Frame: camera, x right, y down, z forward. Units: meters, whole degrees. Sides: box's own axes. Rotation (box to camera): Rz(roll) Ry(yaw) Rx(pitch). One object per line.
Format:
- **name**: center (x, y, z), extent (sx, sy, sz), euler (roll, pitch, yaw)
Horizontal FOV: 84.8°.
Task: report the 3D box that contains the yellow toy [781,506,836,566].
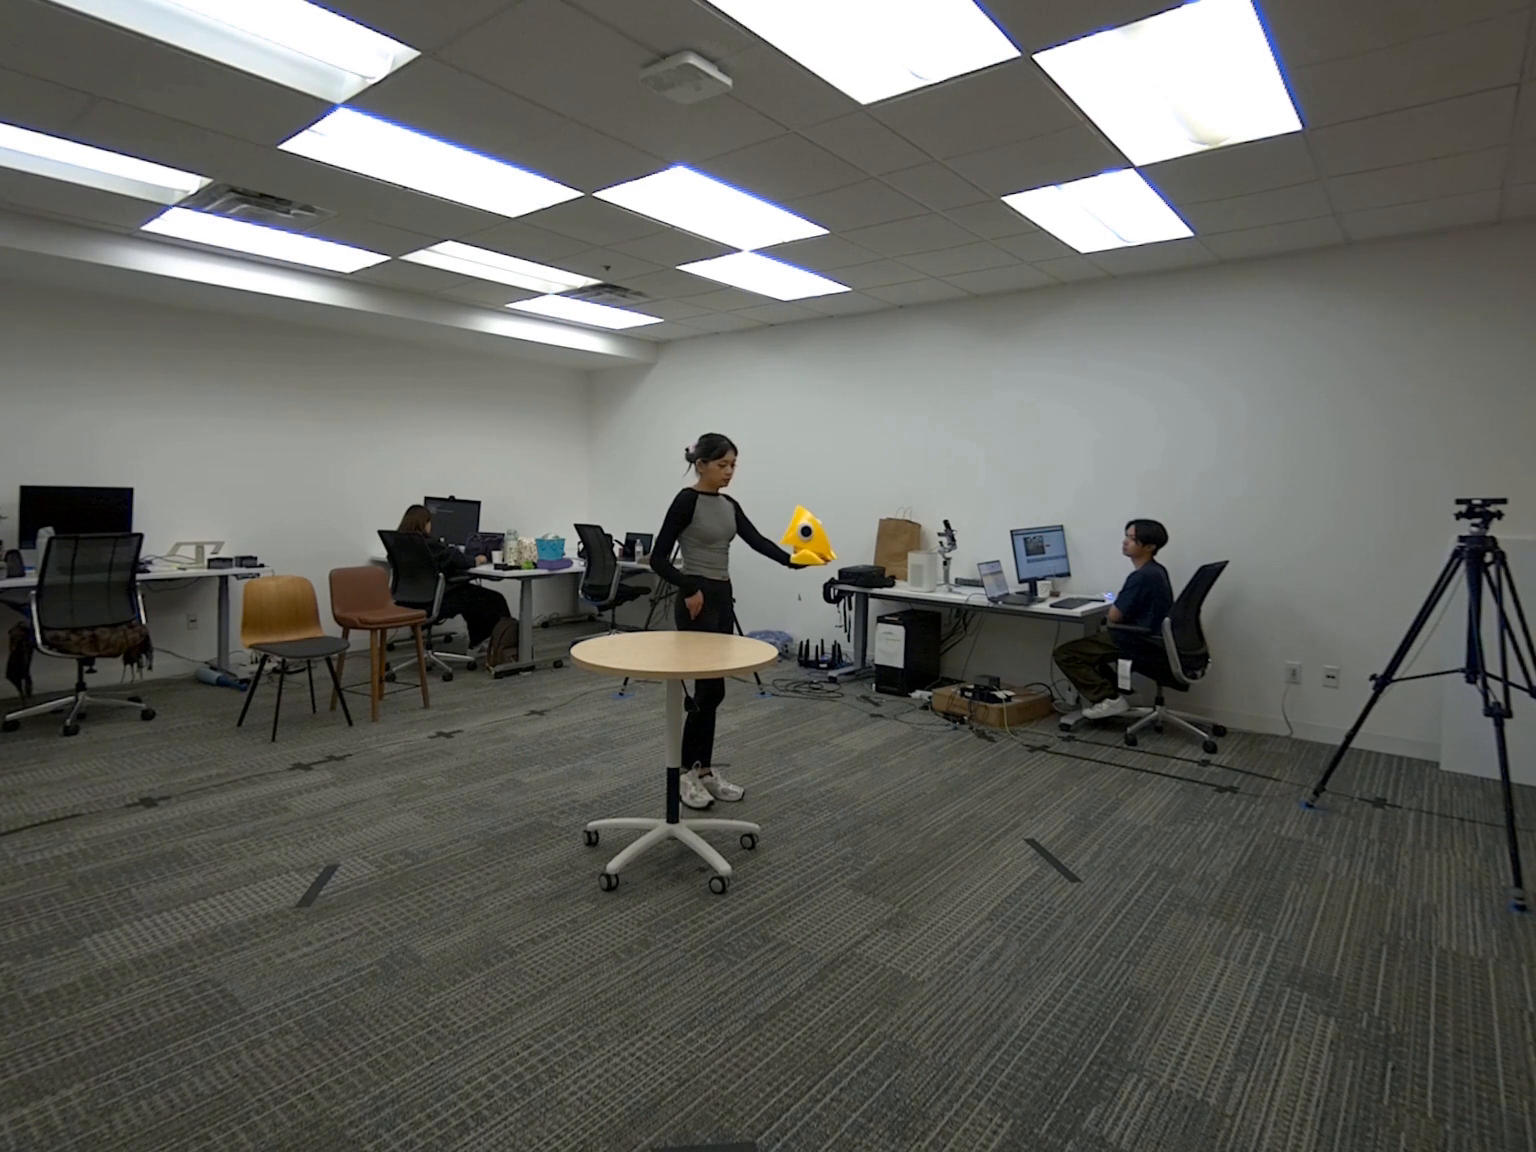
- **yellow toy**: center (0.165, -0.184, 3.537), extent (0.199, 0.229, 0.200), euler (5, 10, 32)
